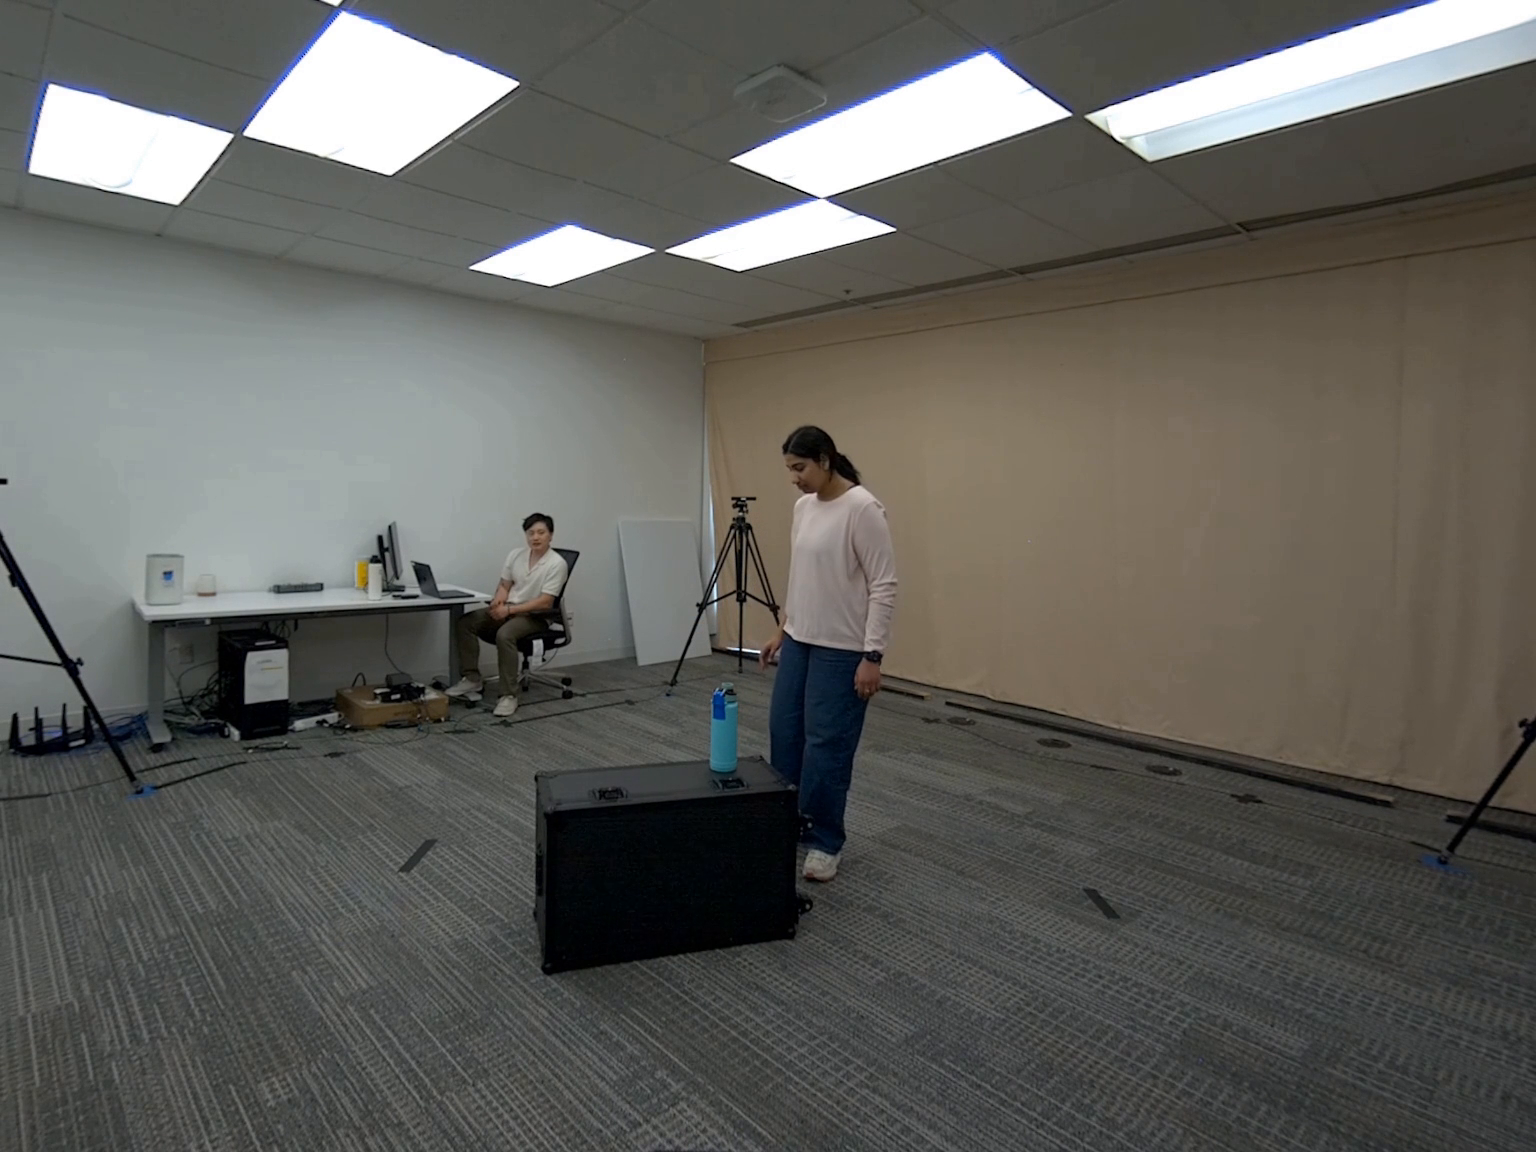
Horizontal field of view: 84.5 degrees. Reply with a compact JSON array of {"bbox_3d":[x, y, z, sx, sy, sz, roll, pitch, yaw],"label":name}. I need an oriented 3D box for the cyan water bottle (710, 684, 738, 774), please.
[{"bbox_3d":[-0.158,0.508,2.820,0.092,0.282,0.093,1,5,-1],"label":"cyan water bottle"}]
